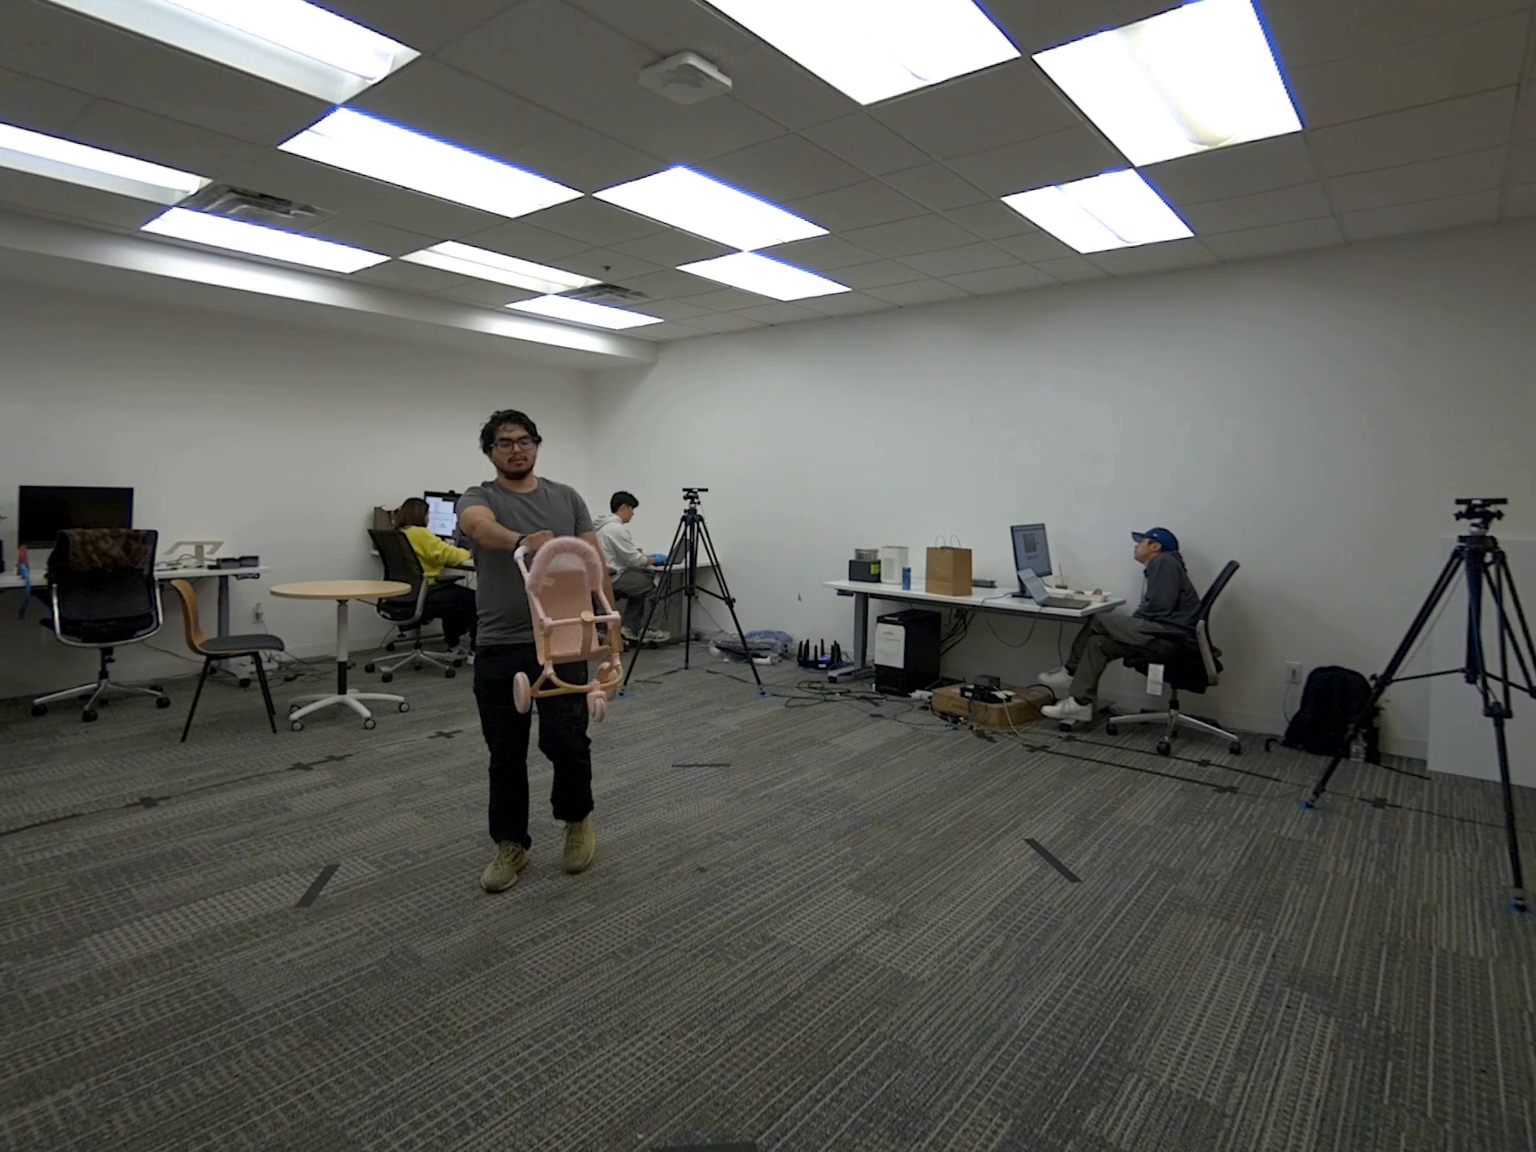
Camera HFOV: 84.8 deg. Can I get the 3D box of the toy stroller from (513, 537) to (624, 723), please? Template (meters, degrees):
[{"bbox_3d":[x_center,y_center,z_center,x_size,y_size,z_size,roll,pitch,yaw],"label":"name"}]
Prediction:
[{"bbox_3d":[-0.542,0.135,2.315,0.275,0.541,0.345,-3,-11,-25],"label":"toy stroller"}]
